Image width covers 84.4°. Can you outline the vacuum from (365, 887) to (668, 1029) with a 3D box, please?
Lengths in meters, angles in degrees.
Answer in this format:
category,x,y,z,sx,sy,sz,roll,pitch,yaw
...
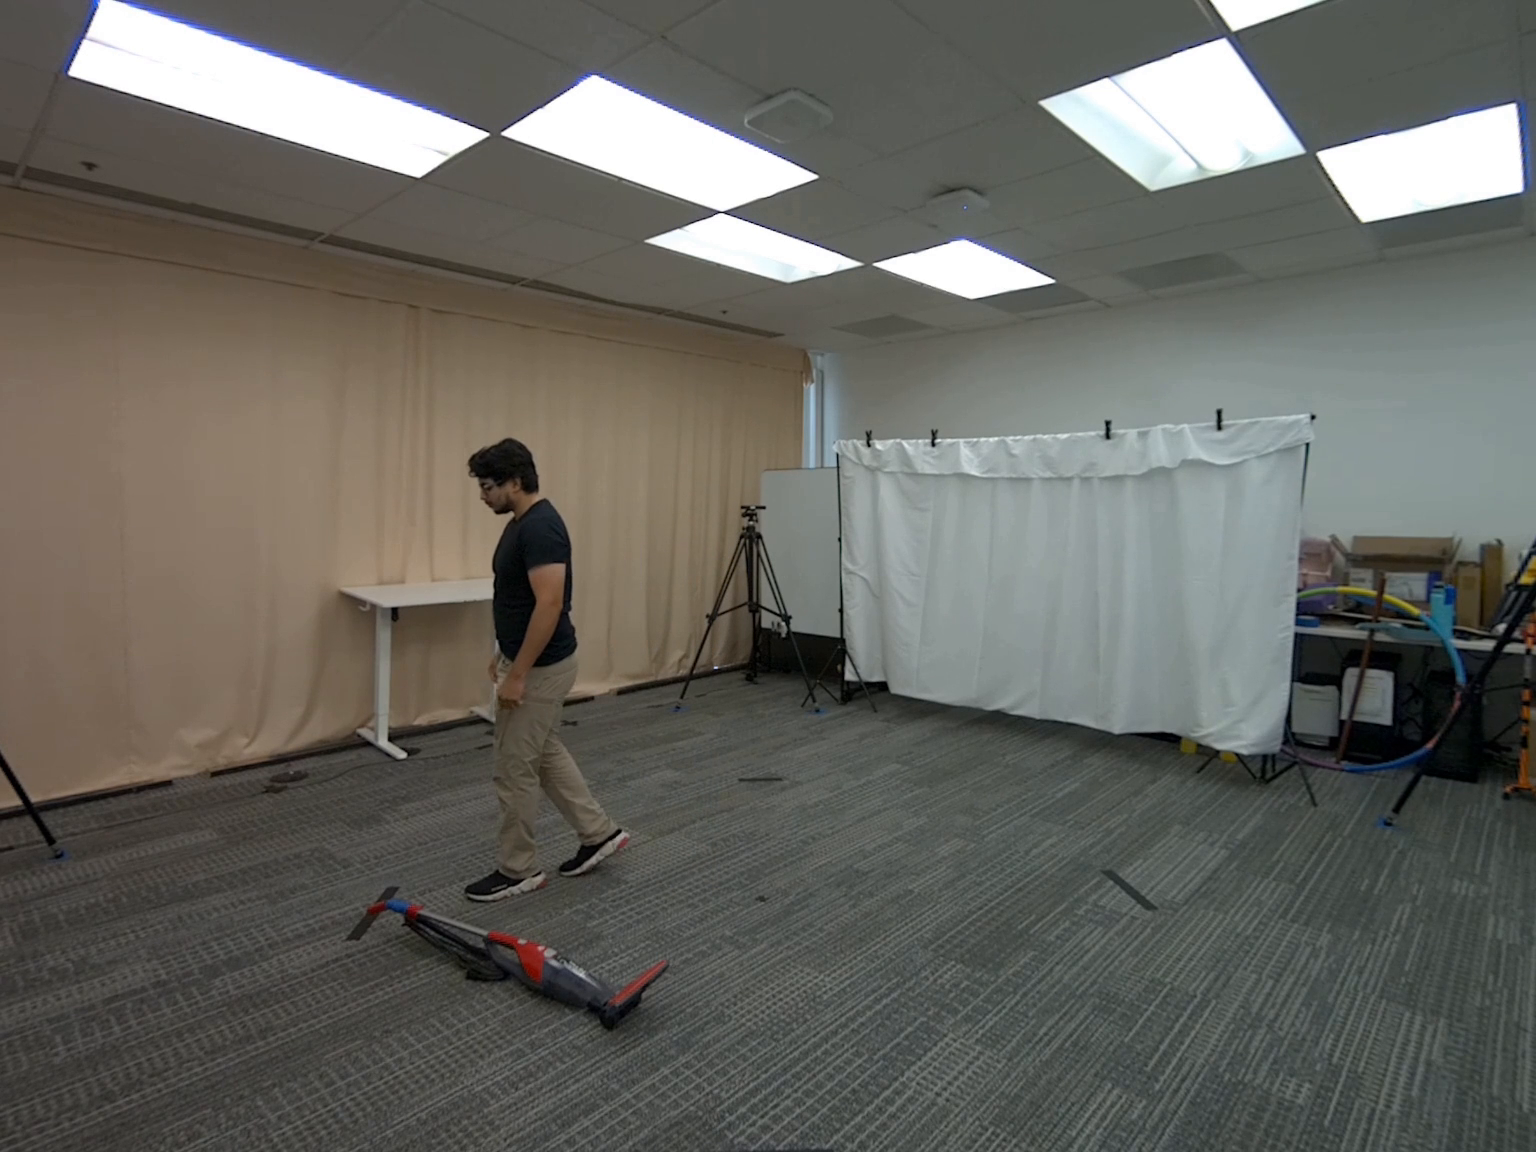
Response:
category,x,y,z,sx,sy,sz,roll,pitch,yaw
vacuum,-0.835,1.132,2.521,1.078,0.144,0.246,2,4,28
